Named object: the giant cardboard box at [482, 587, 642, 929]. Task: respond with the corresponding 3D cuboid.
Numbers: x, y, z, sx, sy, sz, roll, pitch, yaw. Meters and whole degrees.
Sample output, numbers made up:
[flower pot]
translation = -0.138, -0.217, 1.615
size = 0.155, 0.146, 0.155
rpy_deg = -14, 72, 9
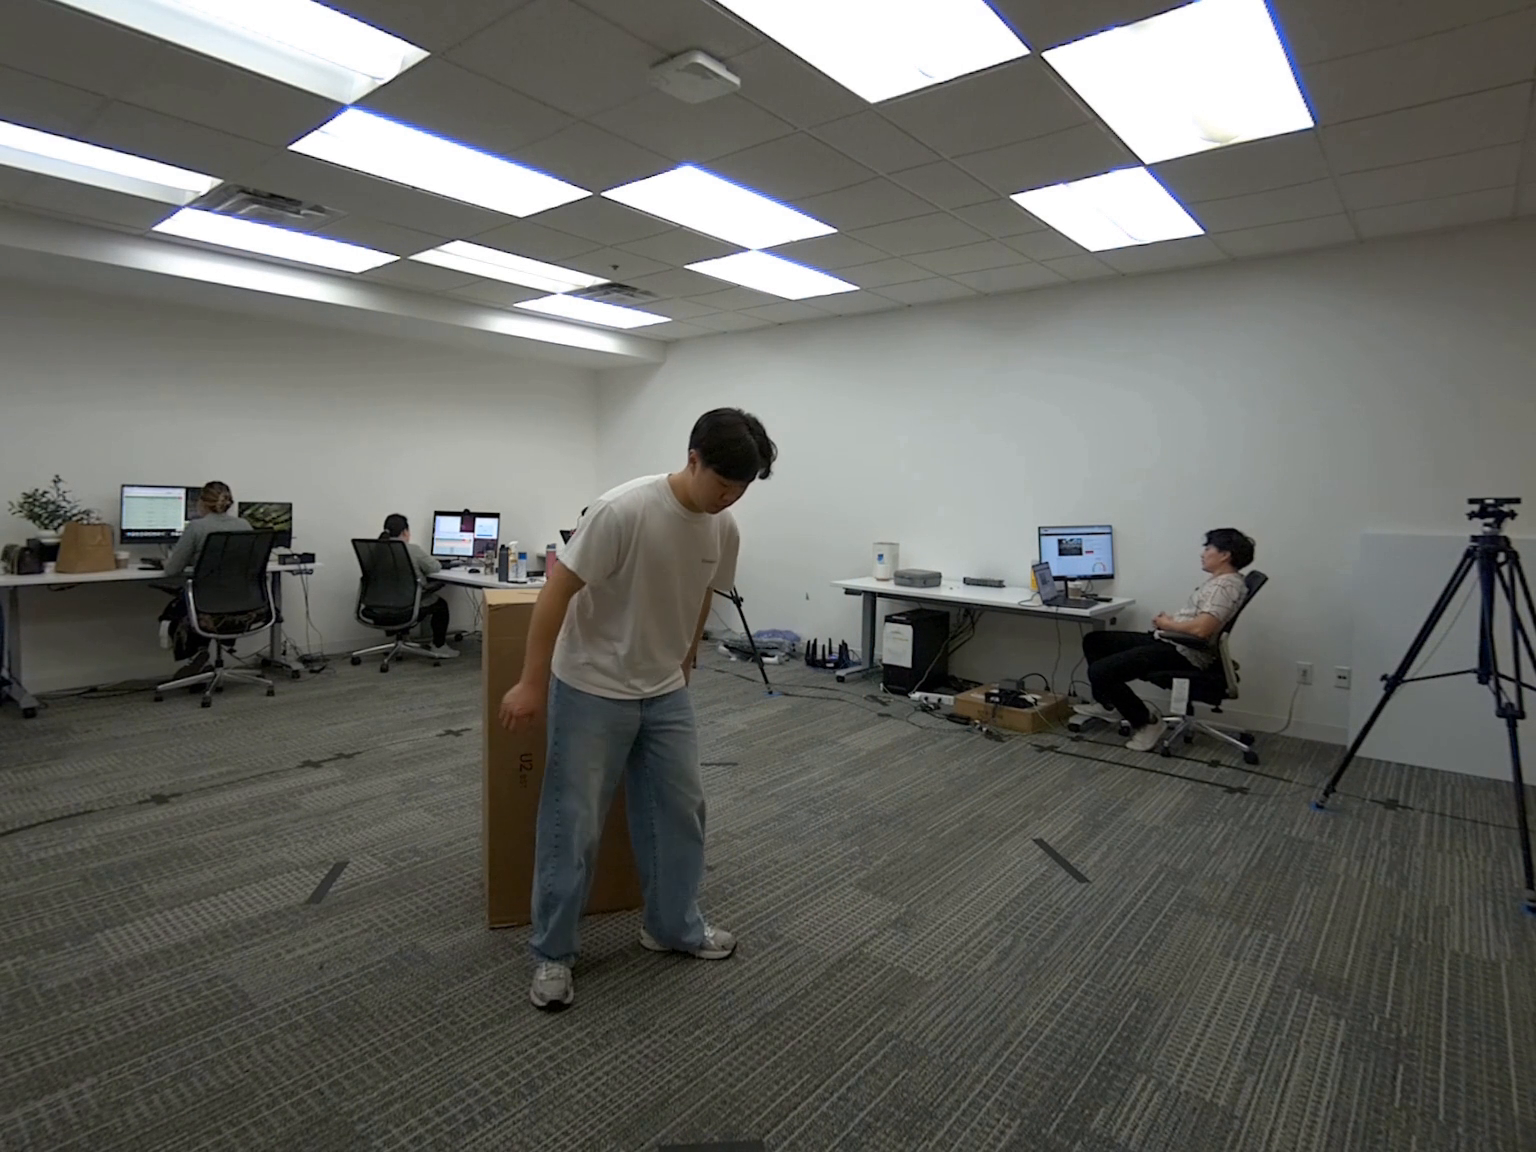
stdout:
[giant cardboard box]
translation = -0.688, 0.567, 2.917
size = 0.566, 1.023, 0.436
rpy_deg = 0, 3, -21
